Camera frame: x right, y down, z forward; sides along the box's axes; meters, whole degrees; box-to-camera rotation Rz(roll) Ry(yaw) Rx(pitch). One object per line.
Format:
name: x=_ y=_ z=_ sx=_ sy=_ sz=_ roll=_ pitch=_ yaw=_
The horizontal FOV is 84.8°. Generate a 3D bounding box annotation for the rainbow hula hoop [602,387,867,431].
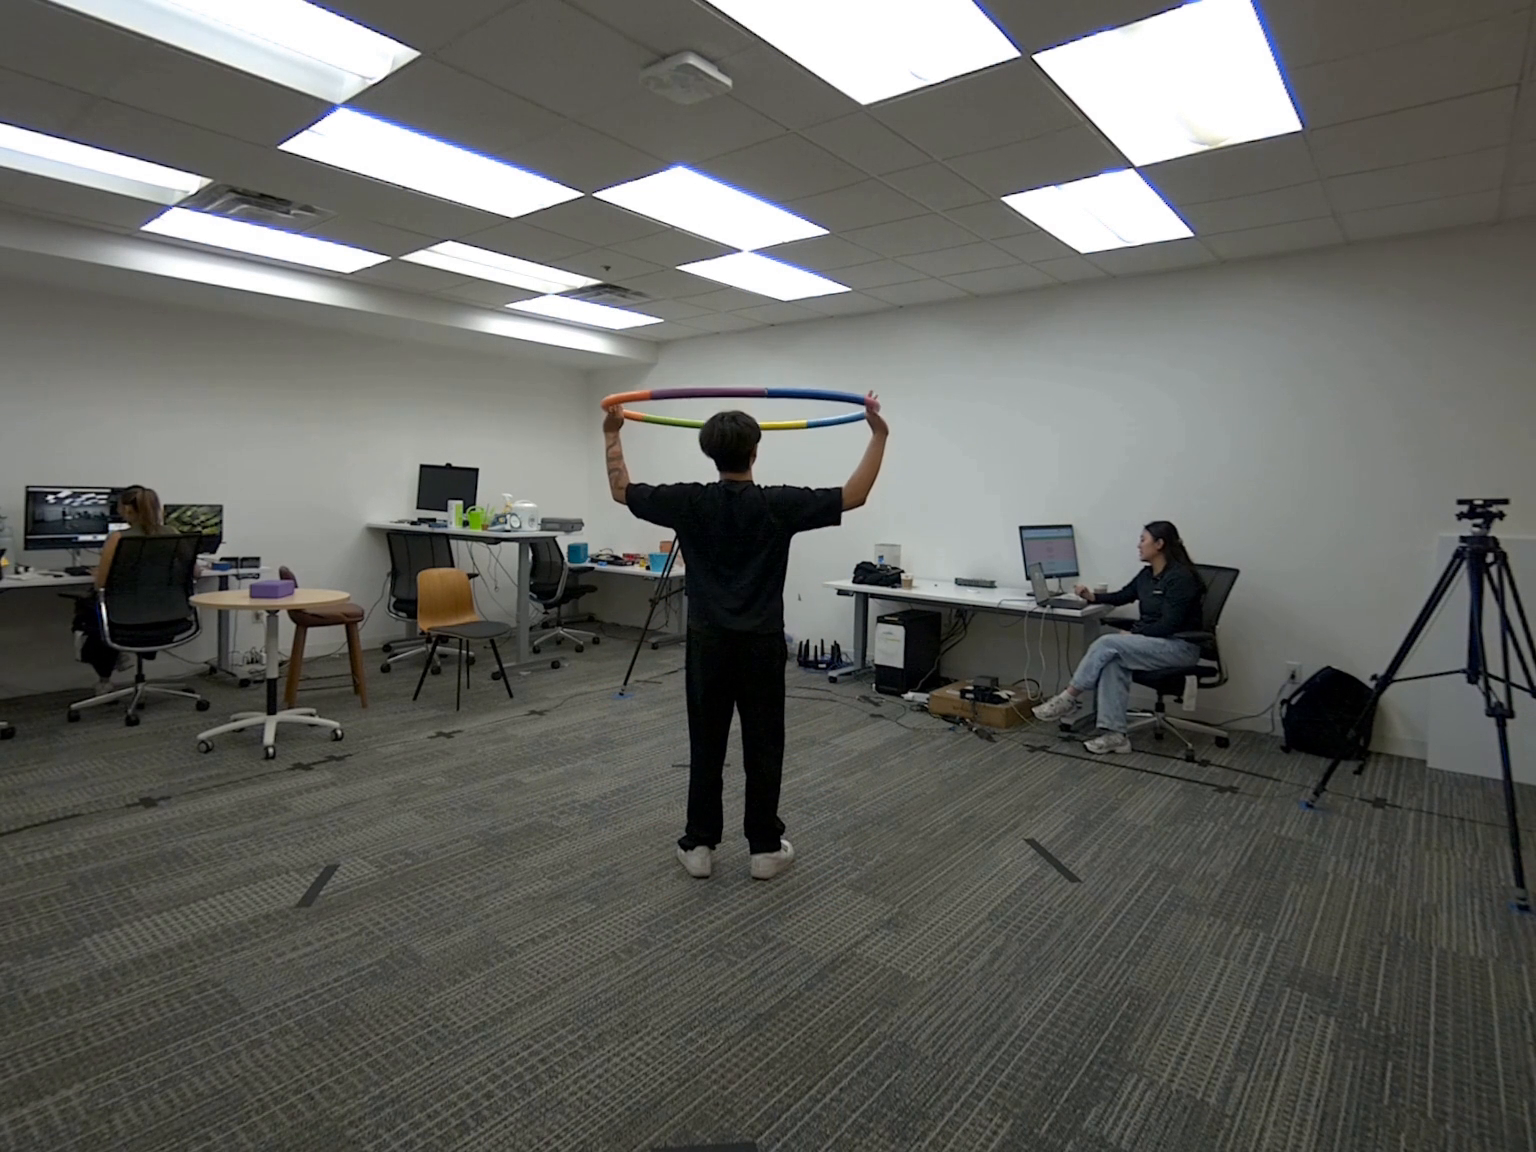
rainbow hula hoop: x=-0.114 y=-0.602 z=3.080 sx=0.978 sy=0.035 sz=0.981 roll=0 pitch=3 yaw=-2
